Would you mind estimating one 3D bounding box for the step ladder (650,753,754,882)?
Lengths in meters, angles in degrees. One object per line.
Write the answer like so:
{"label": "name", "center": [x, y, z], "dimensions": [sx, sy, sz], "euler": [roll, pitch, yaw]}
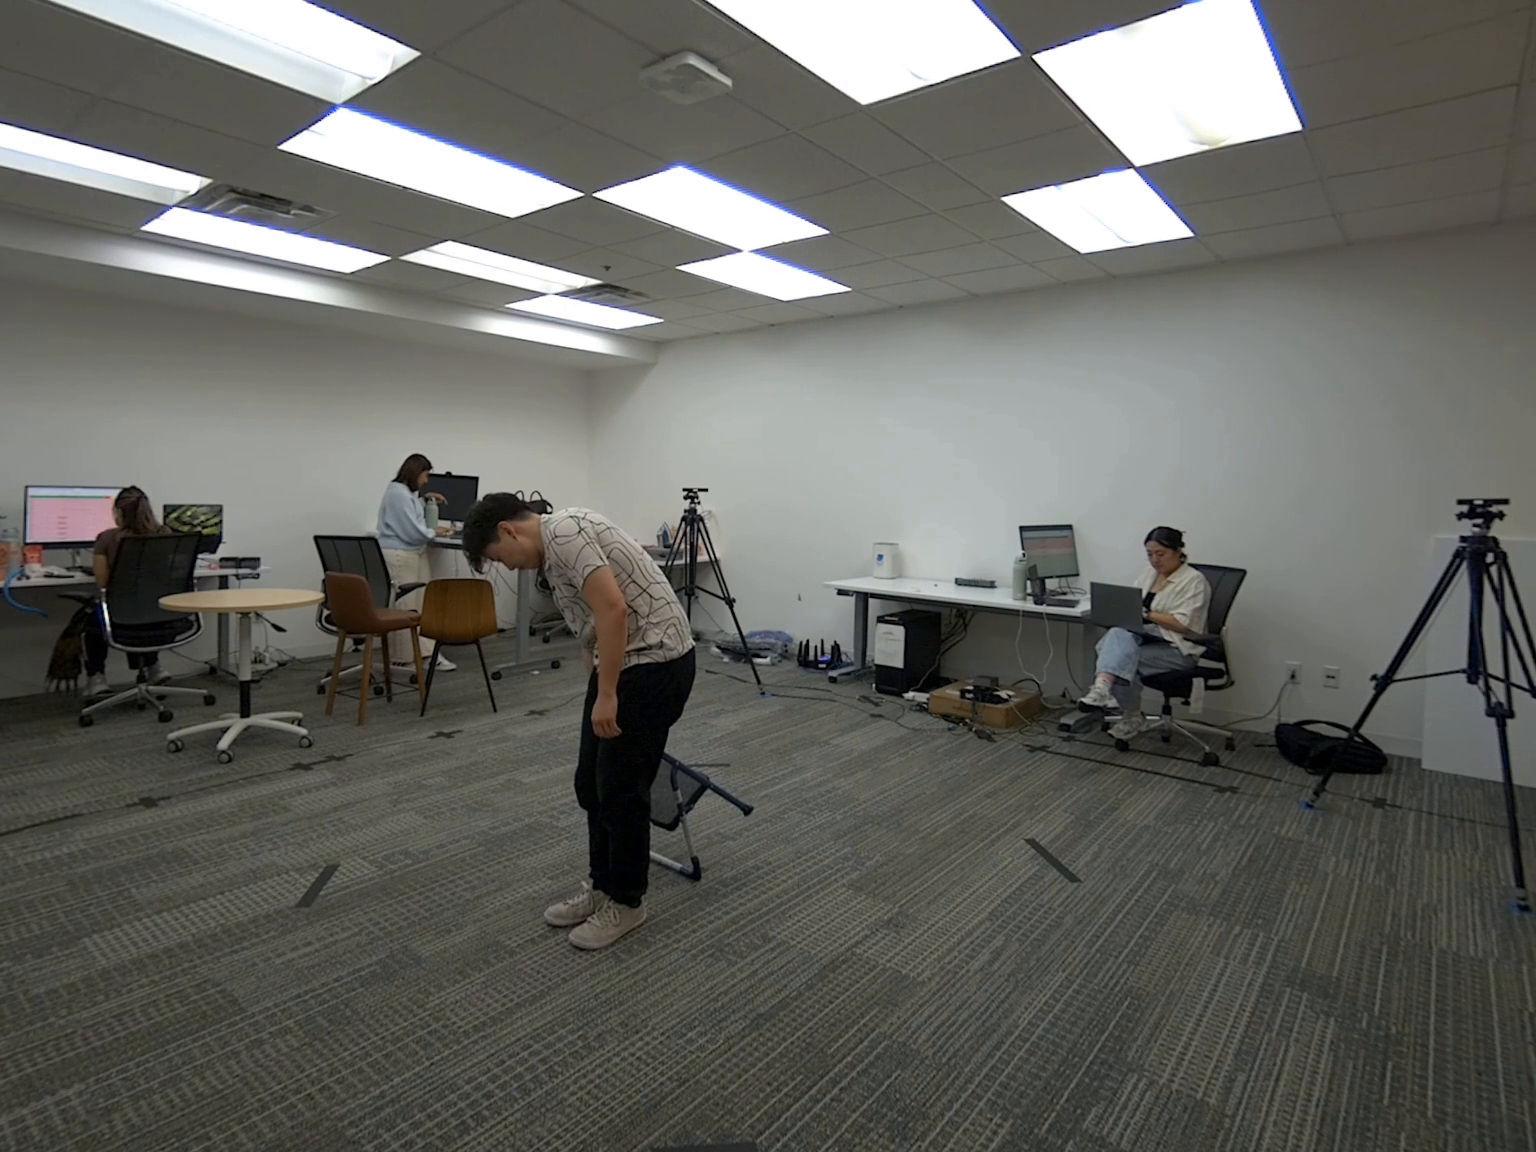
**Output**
{"label": "step ladder", "center": [-0.421, 0.727, 3.116], "dimensions": [0.445, 0.587, 0.349], "euler": [3, 37, 41]}
